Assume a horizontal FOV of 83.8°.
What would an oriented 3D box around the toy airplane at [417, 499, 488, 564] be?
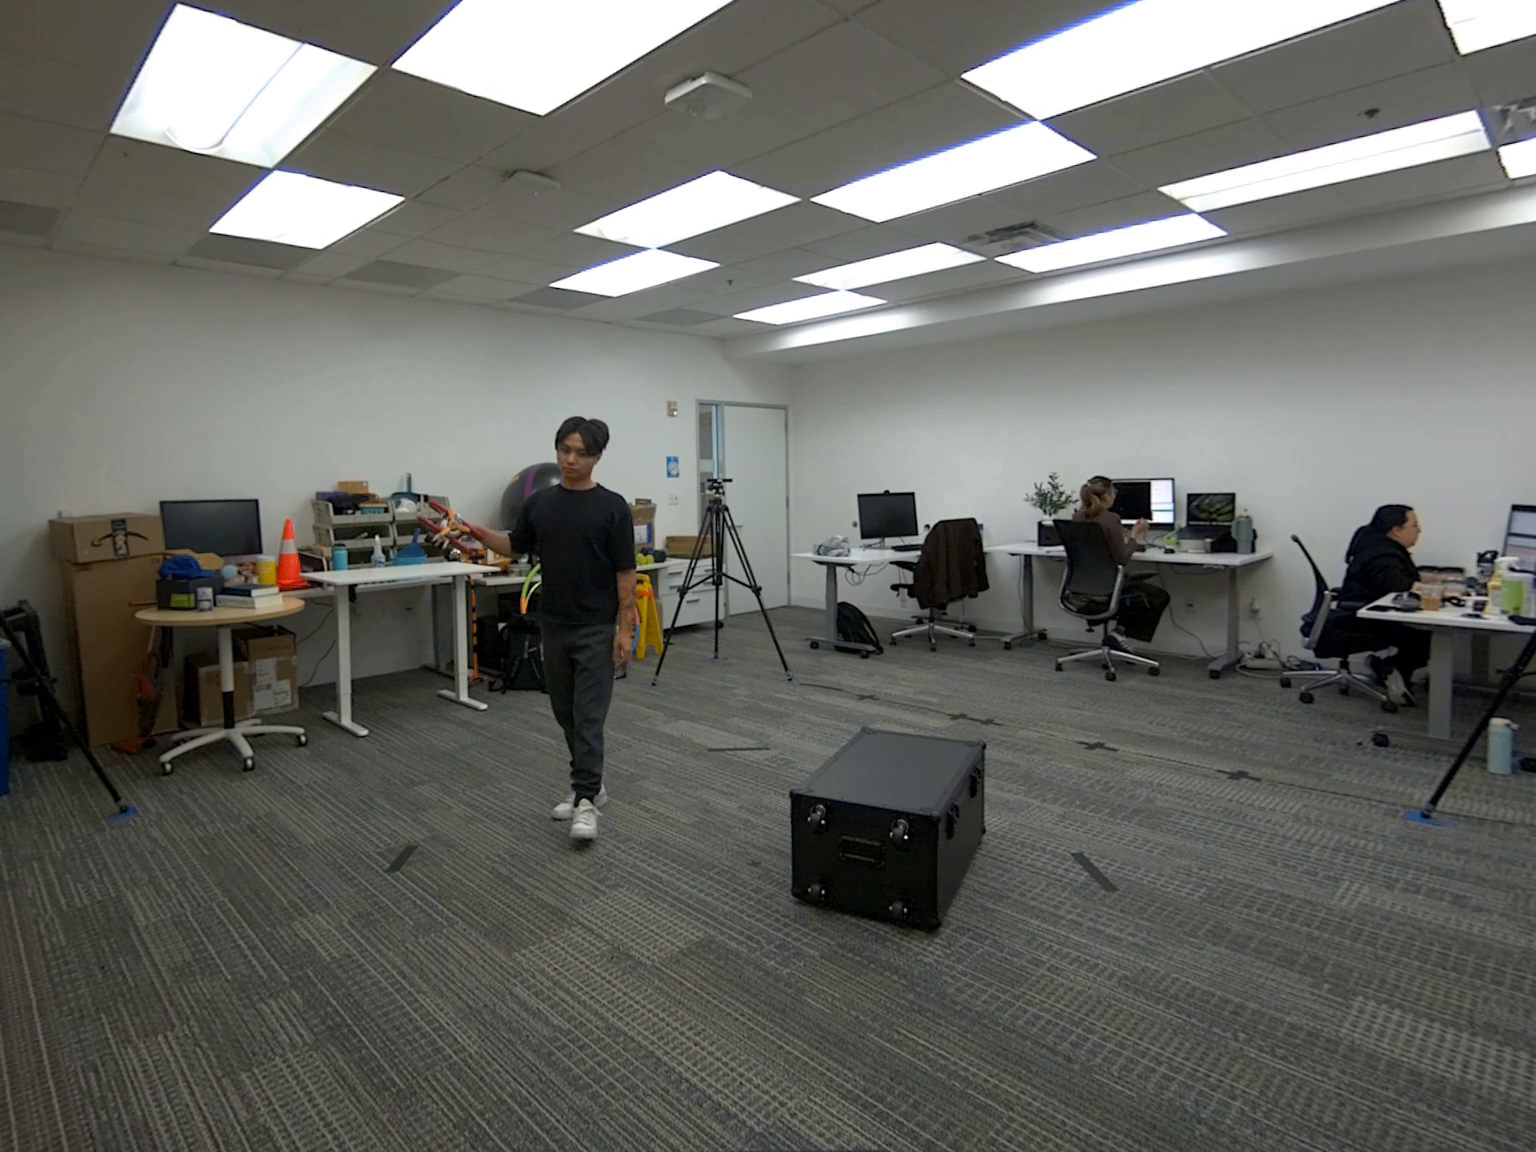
[{"bbox_3d":[-1.312,-0.187,3.441,0.269,0.156,0.241,26,-15,43],"label":"toy airplane"}]
